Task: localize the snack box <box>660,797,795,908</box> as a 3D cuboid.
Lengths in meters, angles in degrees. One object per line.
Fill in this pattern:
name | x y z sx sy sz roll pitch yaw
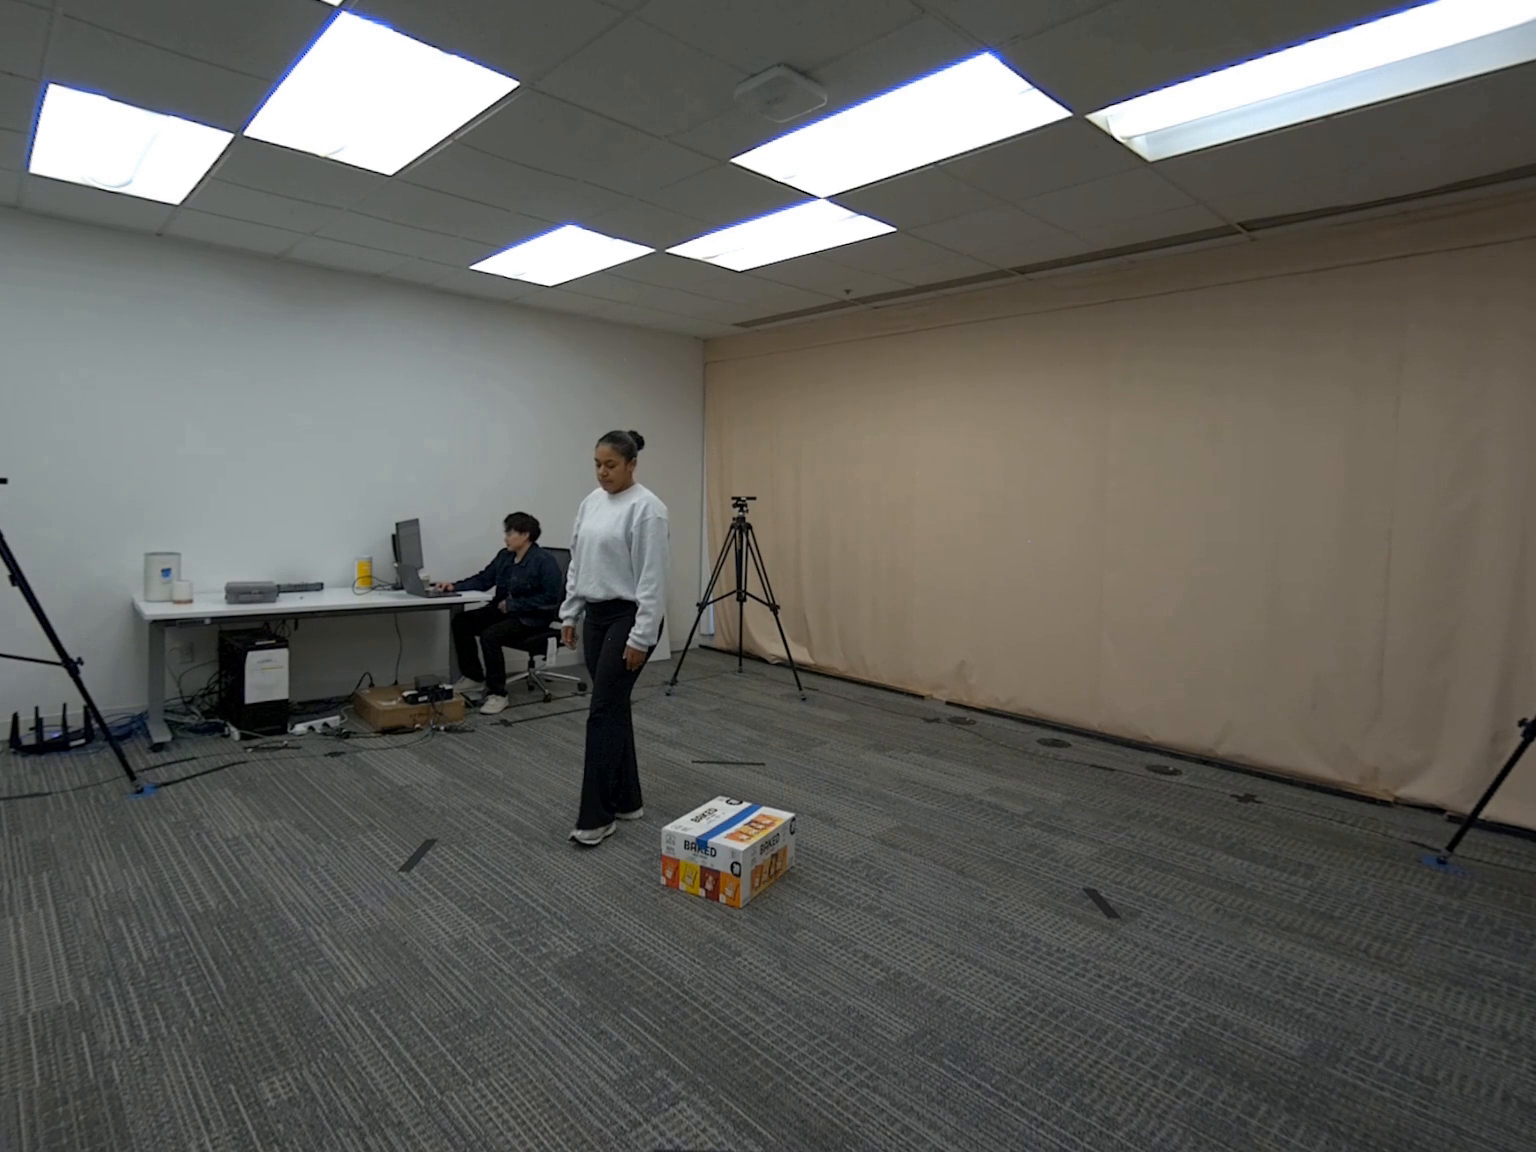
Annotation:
snack box | -0.147 1.005 3.102 0.348 0.205 0.397 4 6 30
